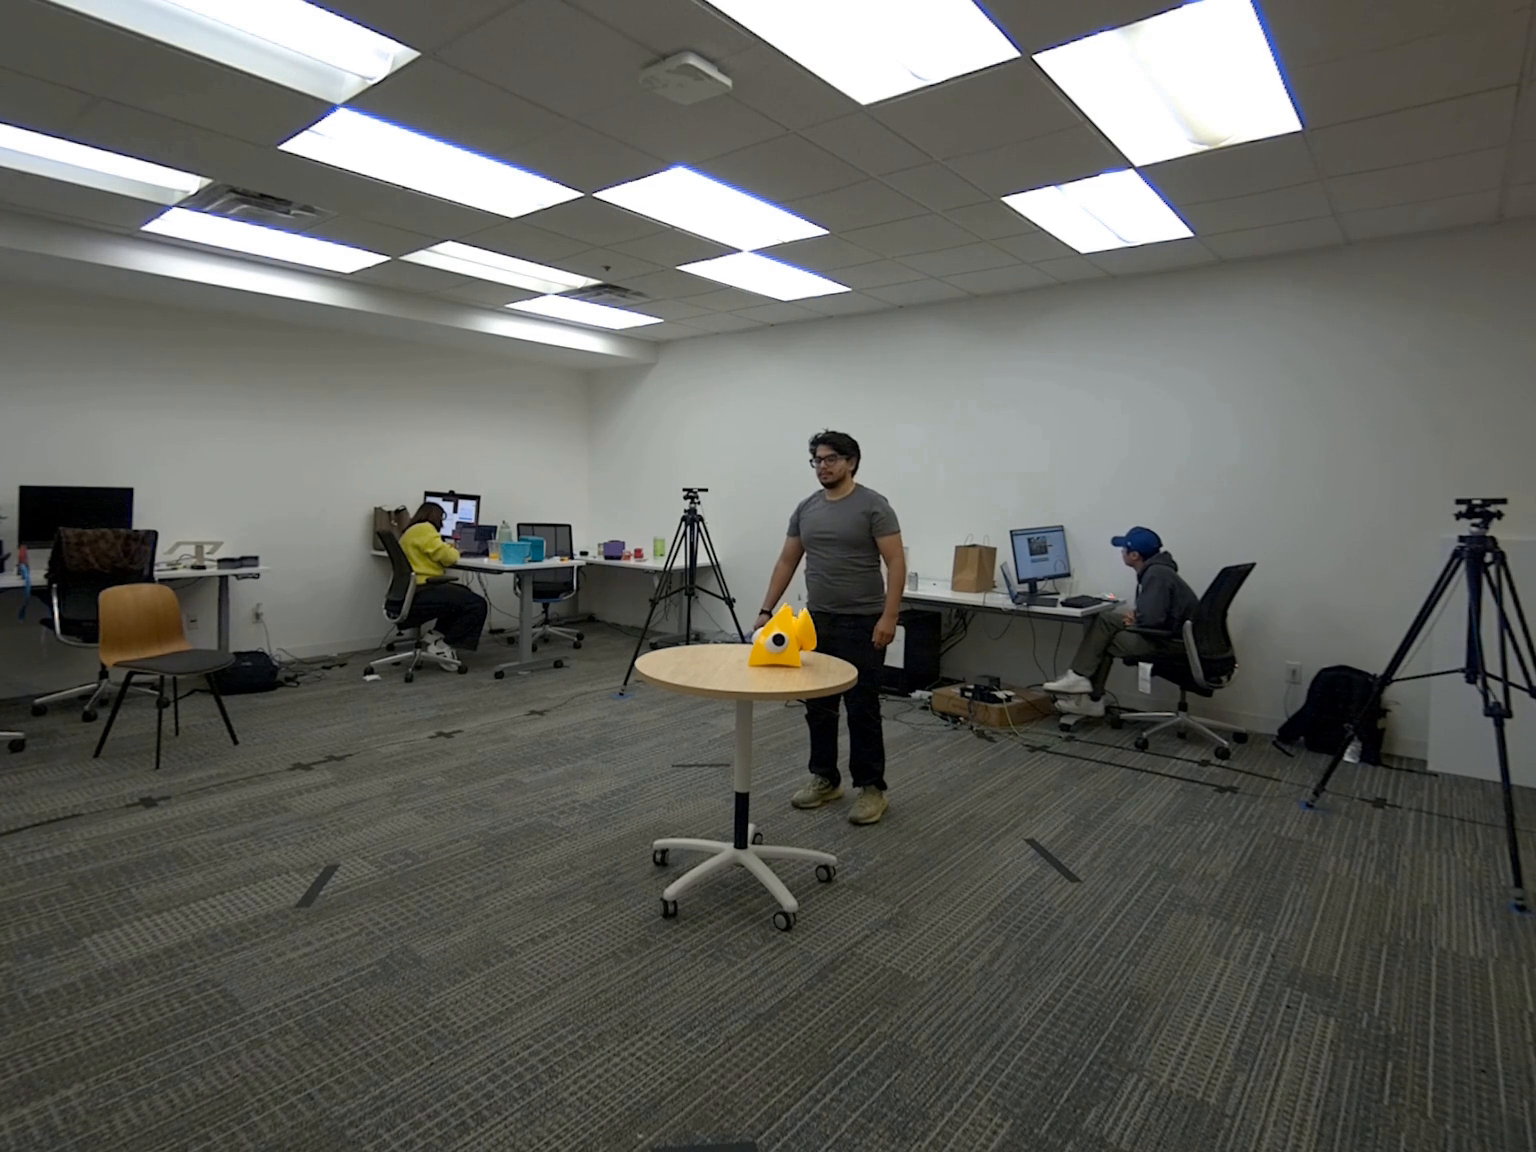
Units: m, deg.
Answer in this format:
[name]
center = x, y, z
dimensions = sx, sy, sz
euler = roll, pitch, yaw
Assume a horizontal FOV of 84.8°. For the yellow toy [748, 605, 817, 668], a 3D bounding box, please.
[yellow toy]
center = 0.012, 0.218, 2.973
dimensions = 0.226, 0.191, 0.211
euler = -16, 13, -27
